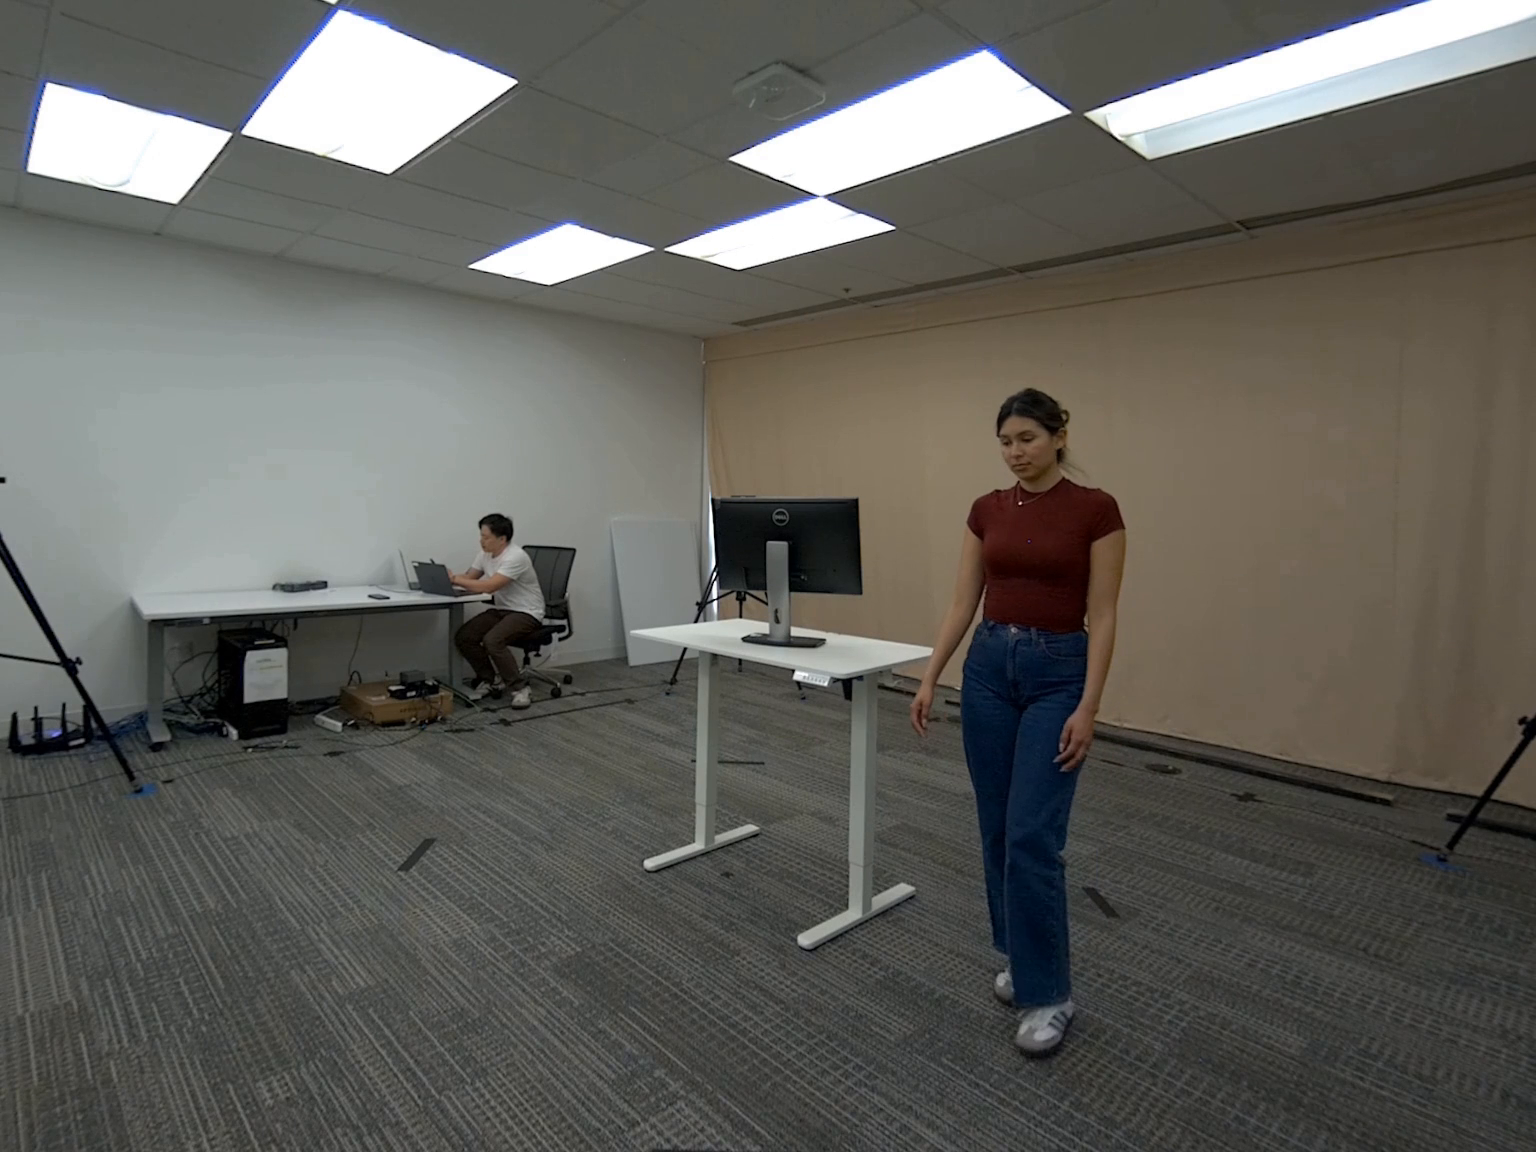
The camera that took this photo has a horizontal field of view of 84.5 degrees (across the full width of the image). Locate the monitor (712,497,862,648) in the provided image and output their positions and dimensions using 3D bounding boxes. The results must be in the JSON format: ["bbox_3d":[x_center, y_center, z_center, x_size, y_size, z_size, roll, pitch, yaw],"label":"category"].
[{"bbox_3d":[0.047,-0.015,2.960,0.546,0.521,0.185,1,4,17],"label":"monitor"}]
